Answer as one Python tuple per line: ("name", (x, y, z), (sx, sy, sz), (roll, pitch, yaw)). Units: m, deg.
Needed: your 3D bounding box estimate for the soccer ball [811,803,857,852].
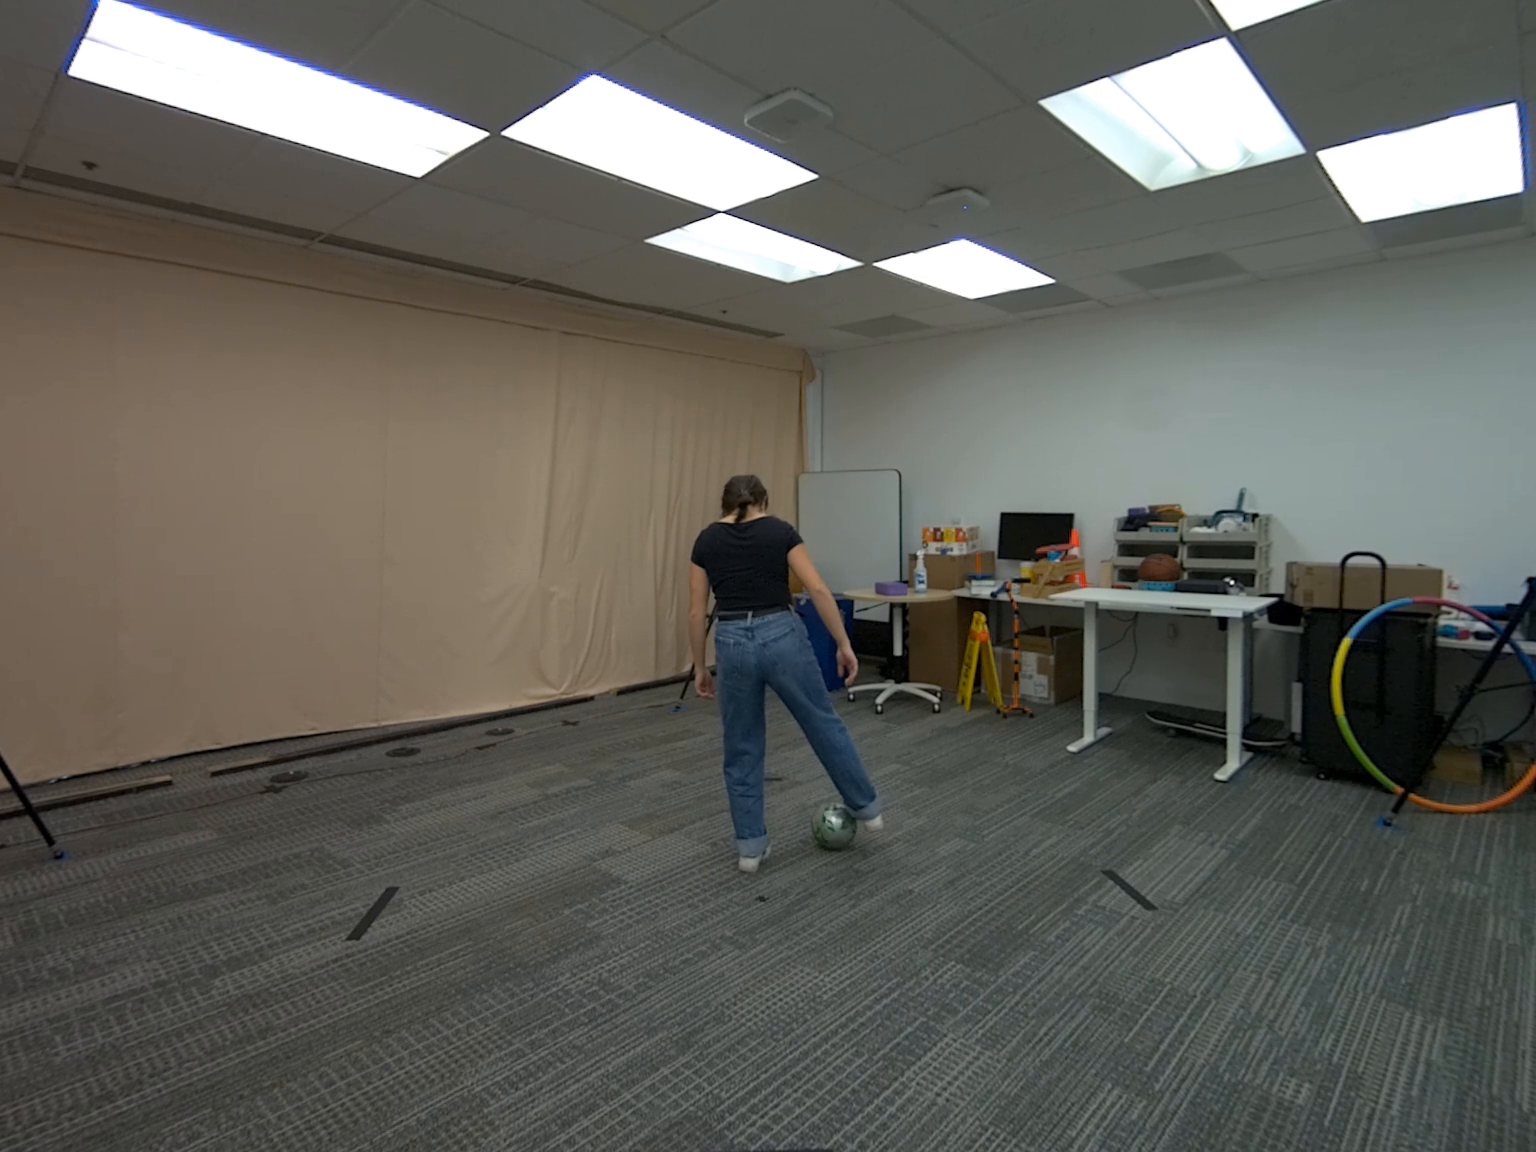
("soccer ball", (0.260, 1.019, 3.416), (0.187, 0.187, 0.188), (0, 4, -2))
